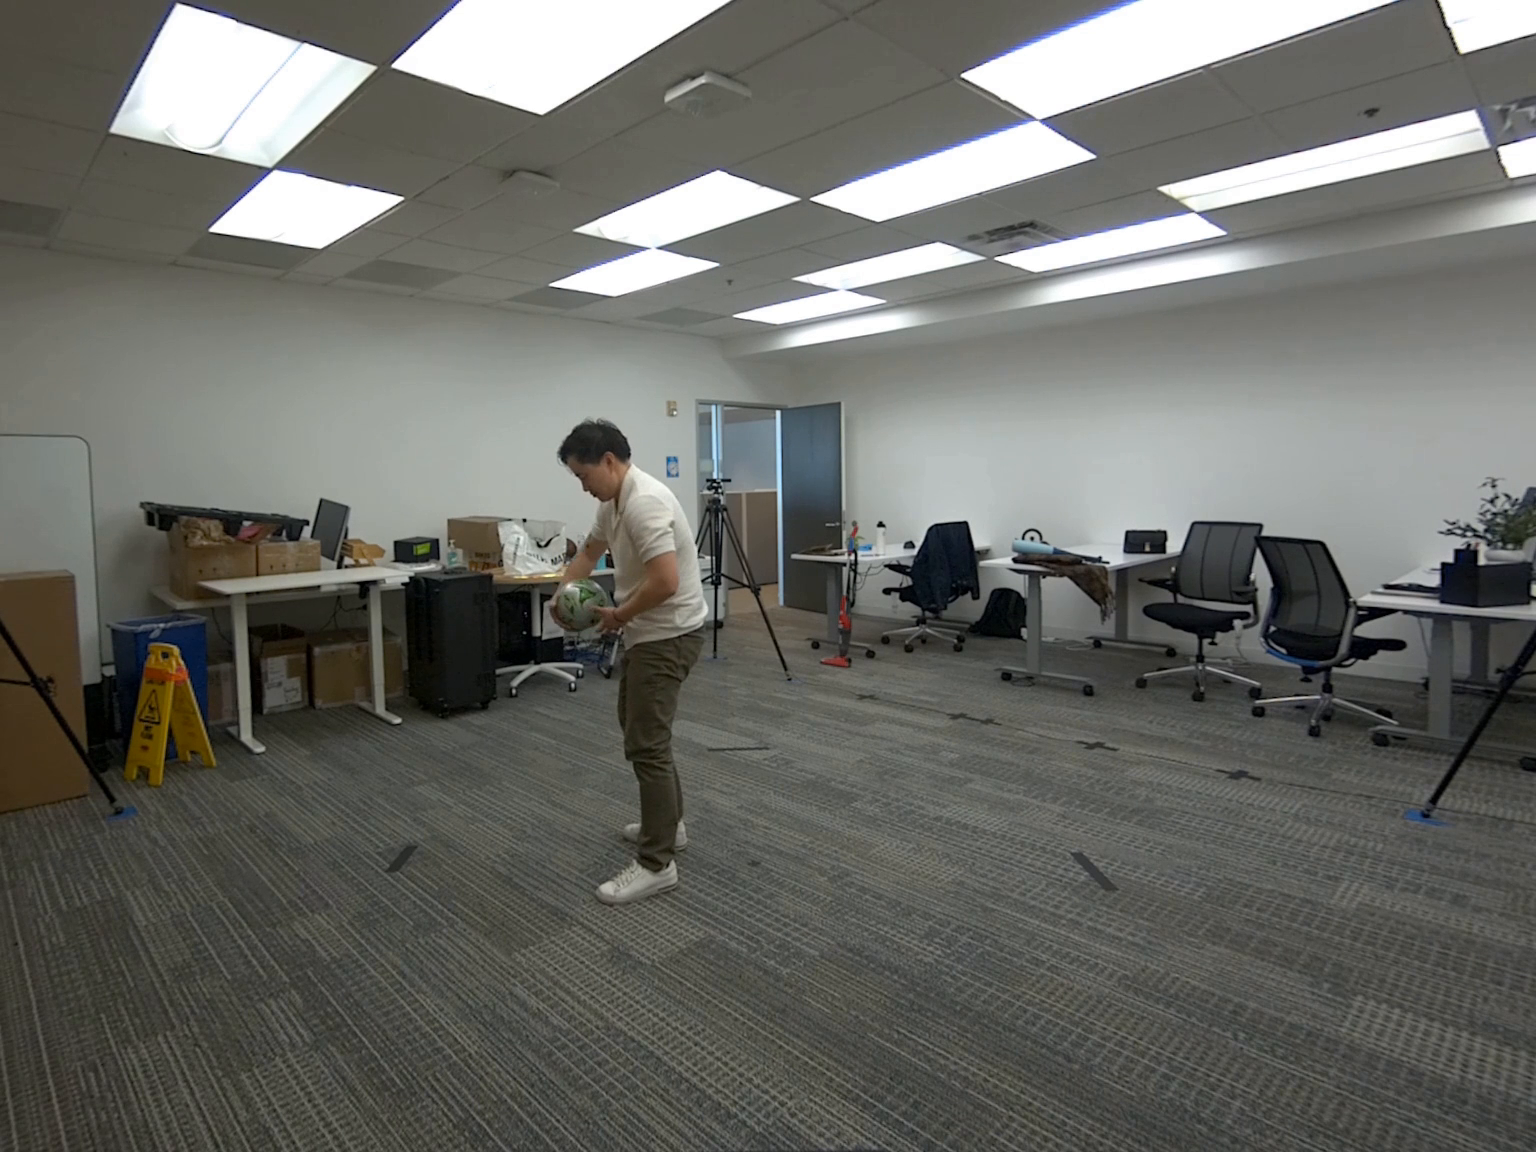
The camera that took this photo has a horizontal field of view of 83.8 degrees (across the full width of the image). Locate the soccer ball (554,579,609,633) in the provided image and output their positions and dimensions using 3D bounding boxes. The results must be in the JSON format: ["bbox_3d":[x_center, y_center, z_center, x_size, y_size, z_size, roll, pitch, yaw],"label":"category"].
[{"bbox_3d":[-0.677,0.105,3.145,0.187,0.187,0.188,-1,5,-2],"label":"soccer ball"}]
